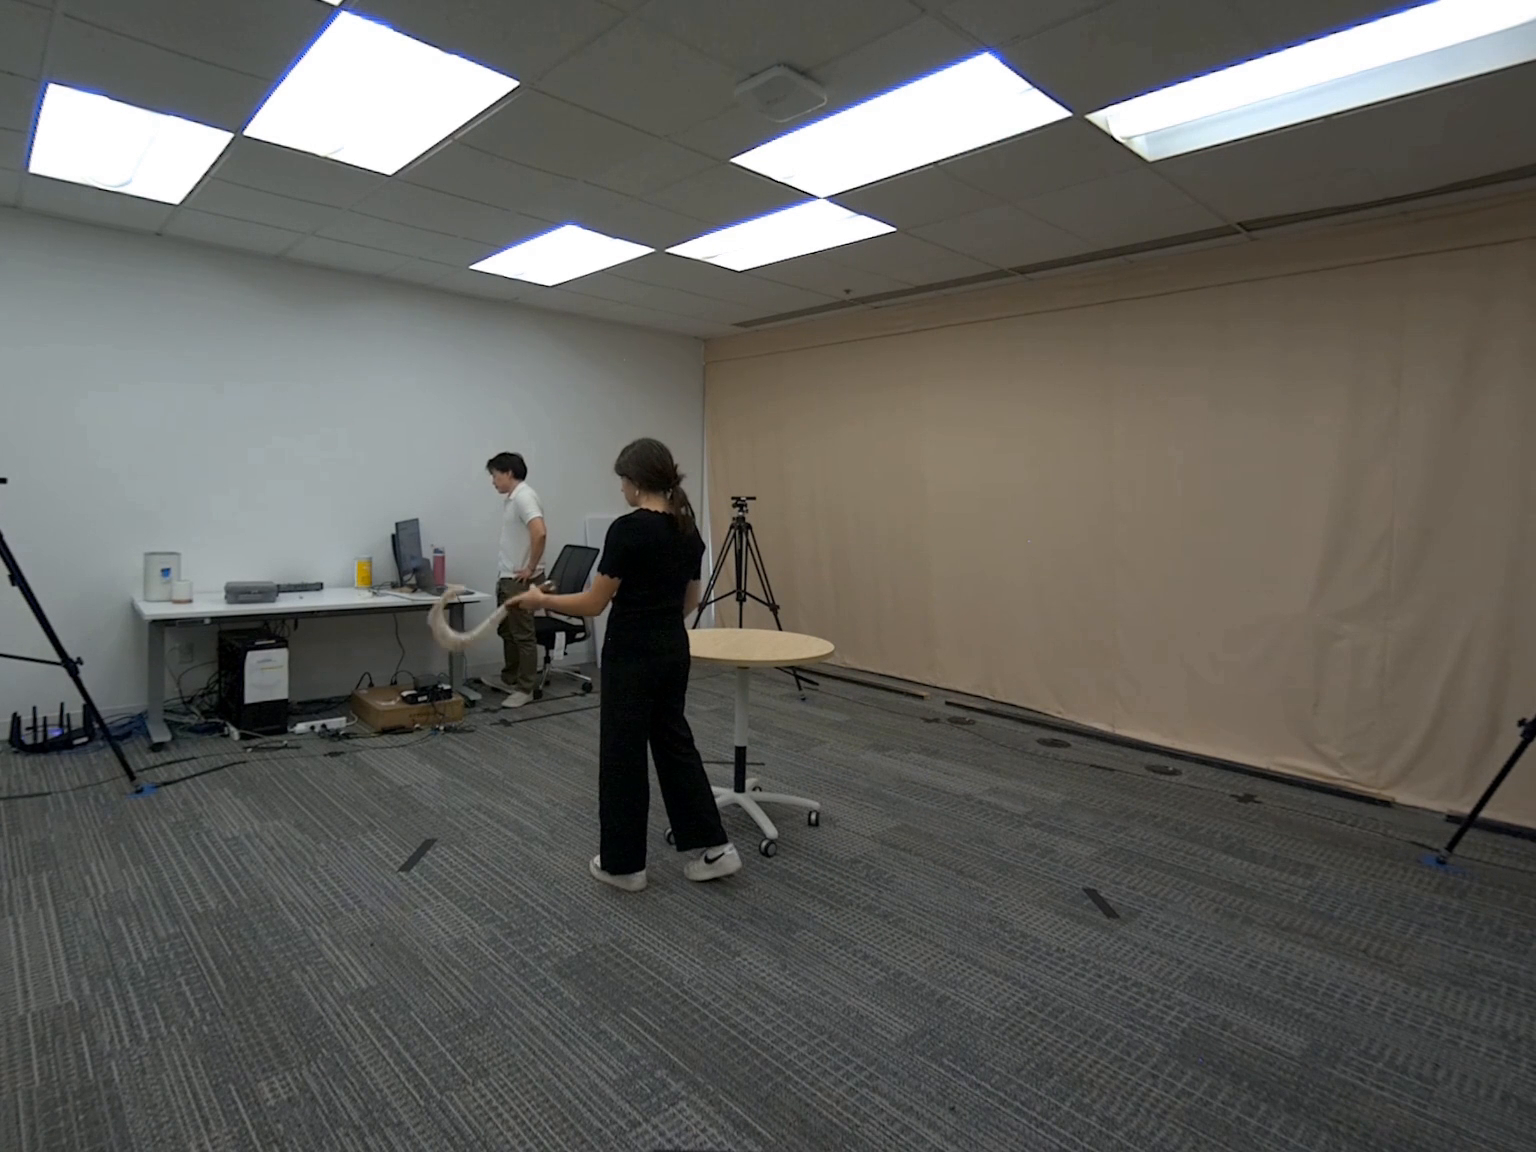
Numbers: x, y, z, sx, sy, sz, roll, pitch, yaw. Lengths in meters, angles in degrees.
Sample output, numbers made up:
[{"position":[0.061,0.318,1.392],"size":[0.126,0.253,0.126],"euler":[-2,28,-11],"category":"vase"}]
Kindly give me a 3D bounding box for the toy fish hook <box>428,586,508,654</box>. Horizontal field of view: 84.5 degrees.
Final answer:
[{"position":[-0.971,0.103,3.022],"size":[0.508,0.224,0.048],"euler":[-27,4,9],"category":"toy fish hook"}]
